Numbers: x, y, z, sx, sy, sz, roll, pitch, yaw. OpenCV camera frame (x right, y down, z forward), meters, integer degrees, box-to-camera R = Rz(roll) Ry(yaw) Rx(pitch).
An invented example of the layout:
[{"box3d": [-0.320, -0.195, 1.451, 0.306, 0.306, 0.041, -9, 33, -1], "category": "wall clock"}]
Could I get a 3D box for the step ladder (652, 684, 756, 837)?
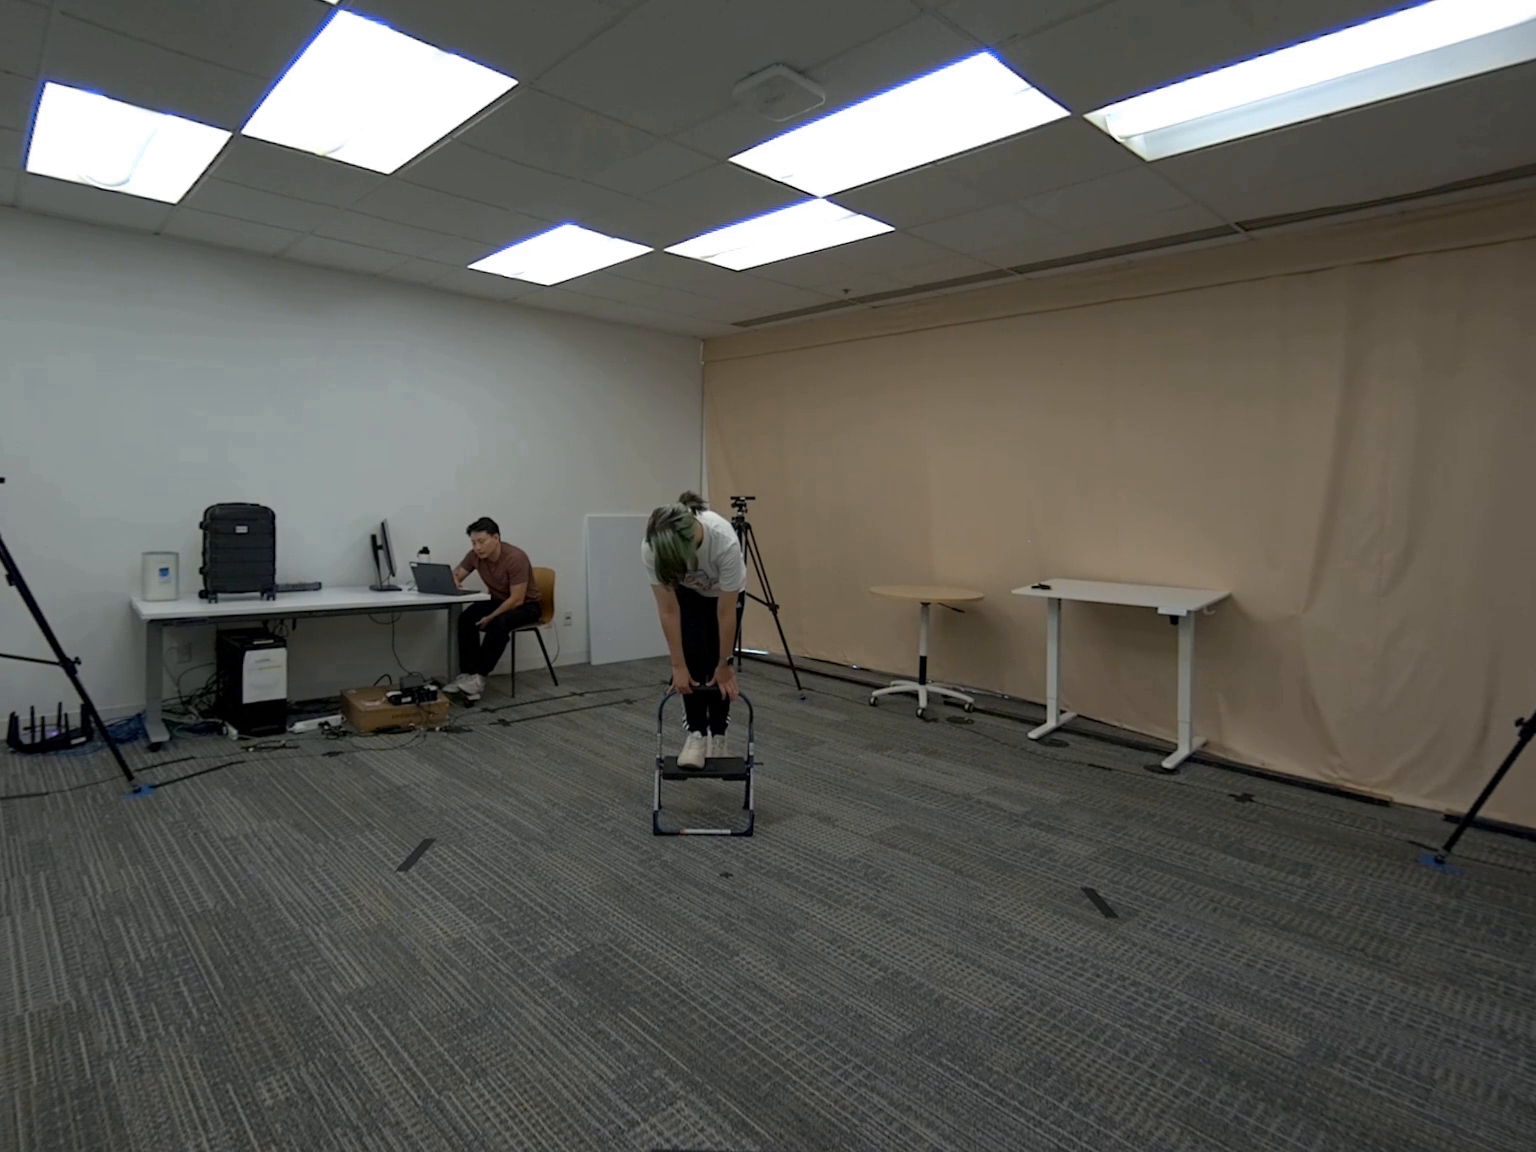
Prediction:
[{"box3d": [-0.280, 0.759, 3.614, 0.429, 0.605, 0.351, 2, 3, -4], "category": "step ladder"}]
